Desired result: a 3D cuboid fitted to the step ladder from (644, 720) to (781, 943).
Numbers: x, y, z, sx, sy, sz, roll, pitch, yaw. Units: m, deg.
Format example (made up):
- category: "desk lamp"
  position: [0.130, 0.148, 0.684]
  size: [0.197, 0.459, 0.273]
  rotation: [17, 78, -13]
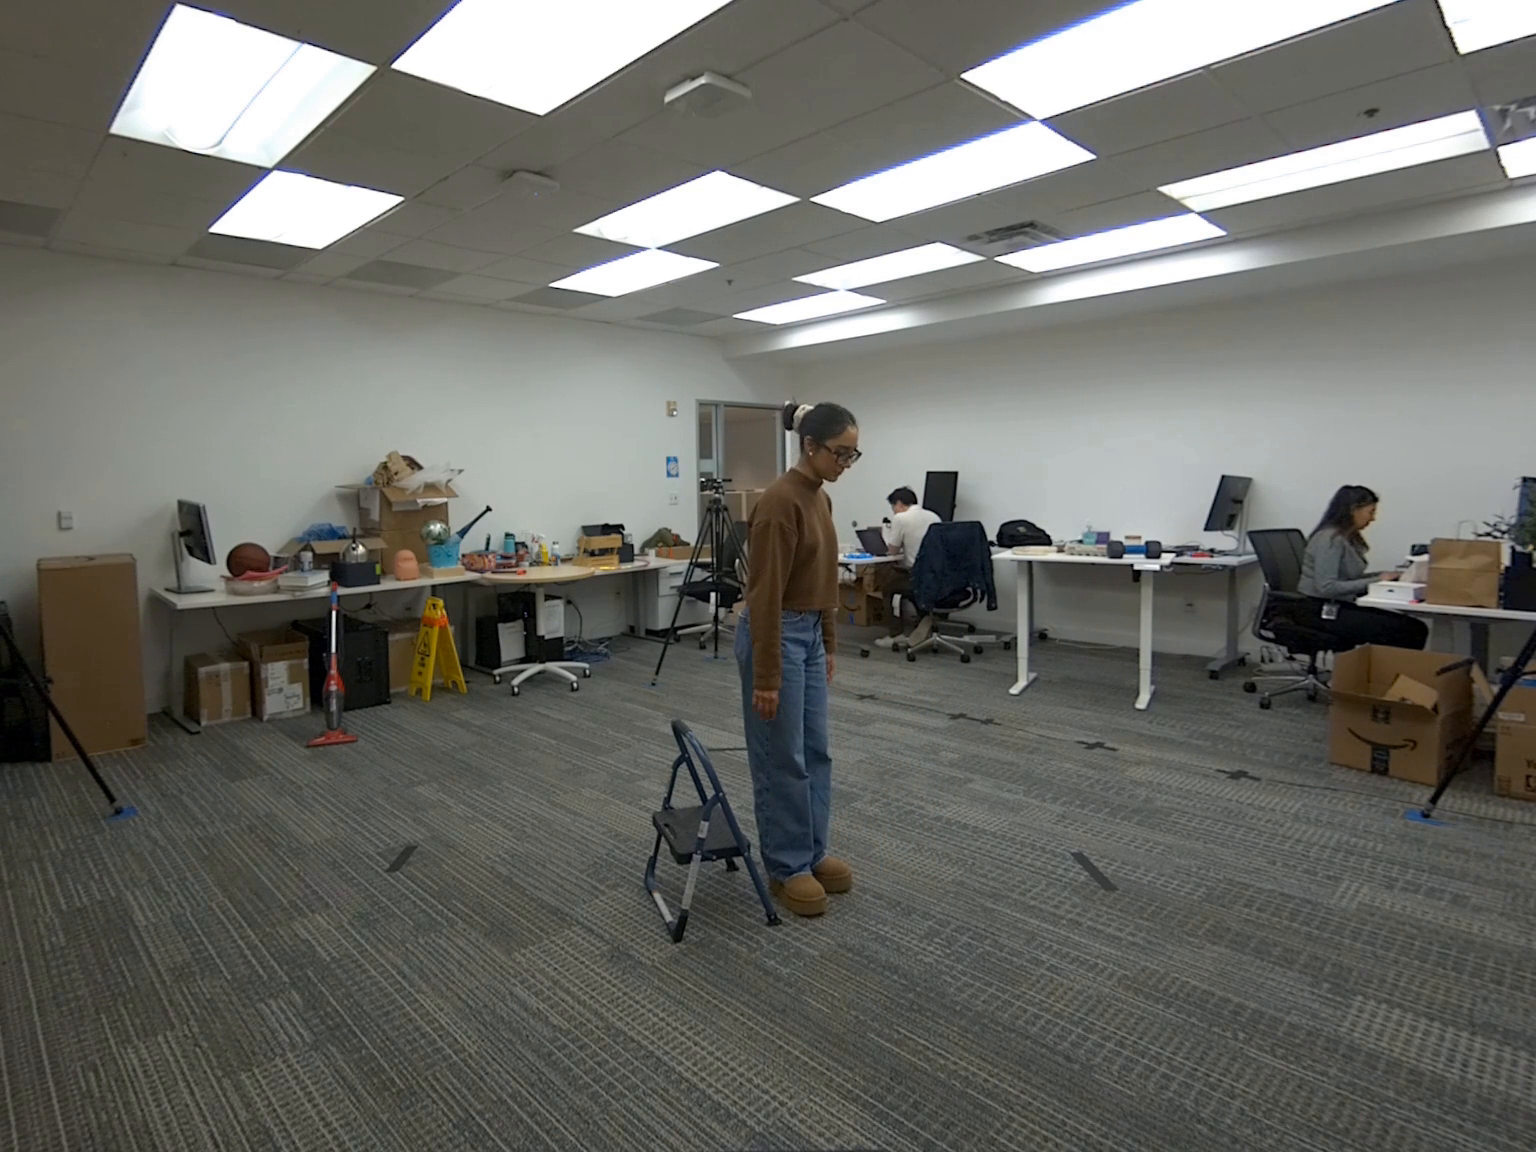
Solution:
- category: "step ladder"
  position: [-0.190, 0.779, 2.804]
  size: [0.343, 0.604, 0.440]
  rotation: [-2, 5, -21]
